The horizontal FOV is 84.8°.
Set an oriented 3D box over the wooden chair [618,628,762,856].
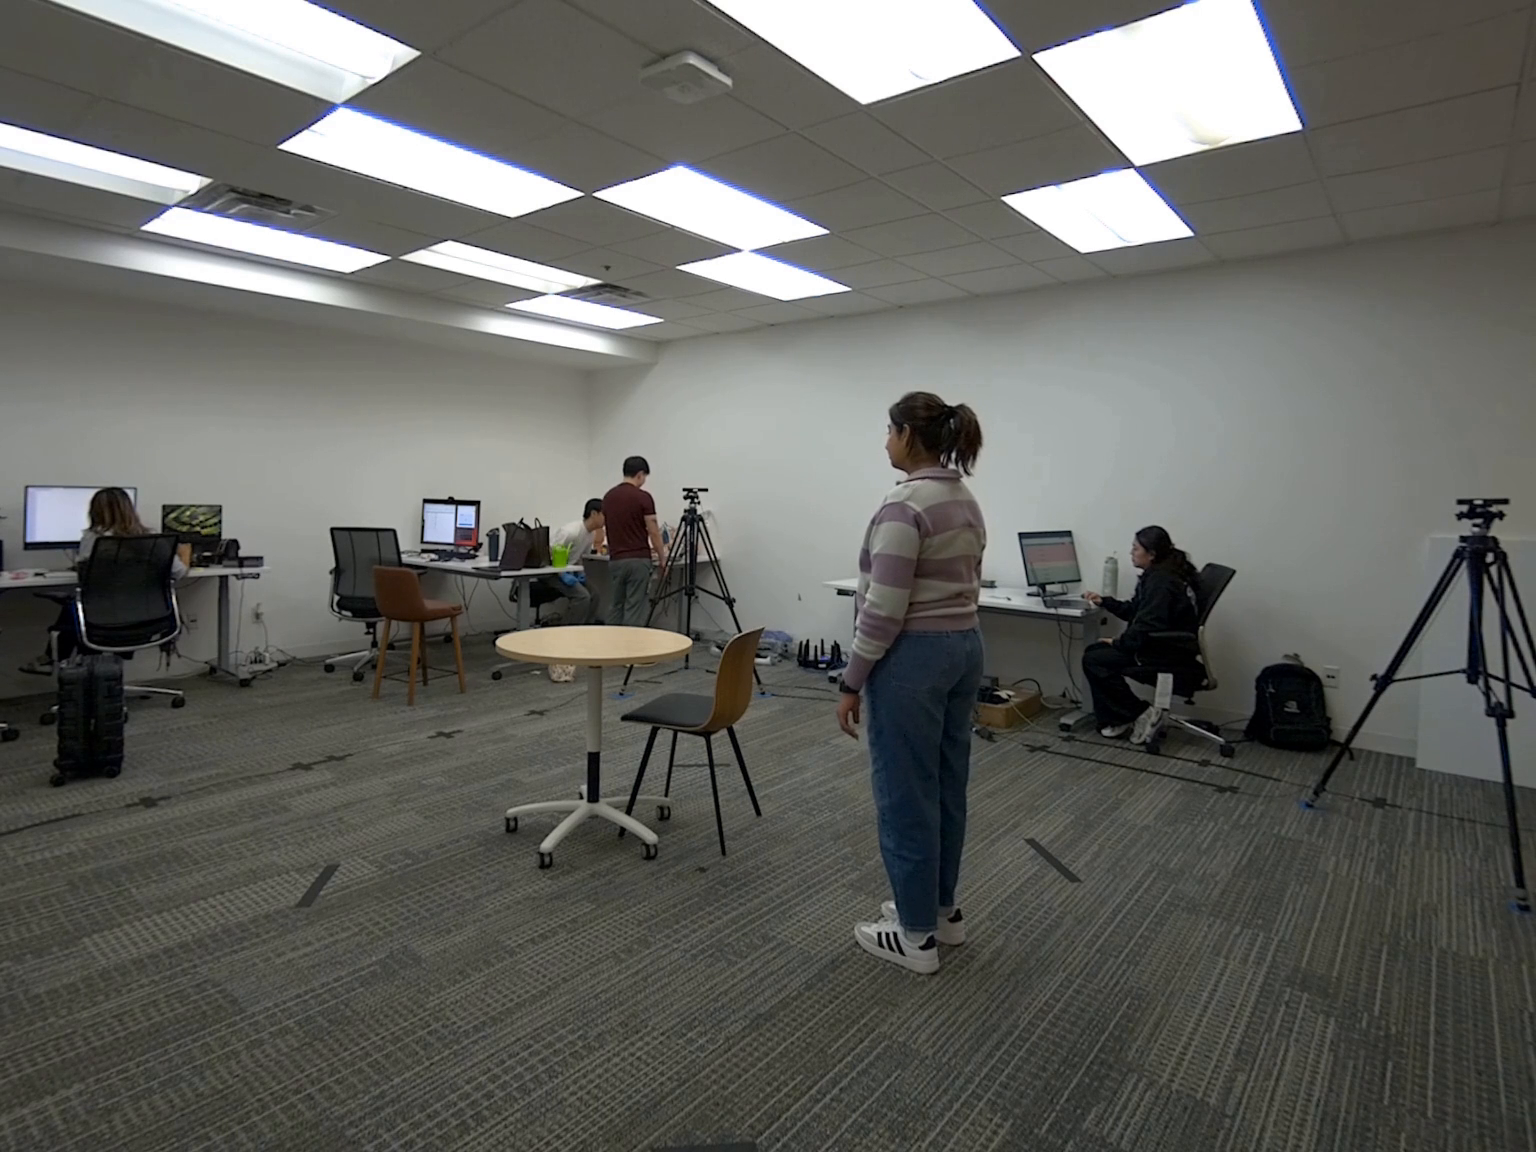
[{"bbox_3d":[-0.321,0.607,3.481,0.535,0.874,0.469,6,5,19],"label":"wooden chair"}]
